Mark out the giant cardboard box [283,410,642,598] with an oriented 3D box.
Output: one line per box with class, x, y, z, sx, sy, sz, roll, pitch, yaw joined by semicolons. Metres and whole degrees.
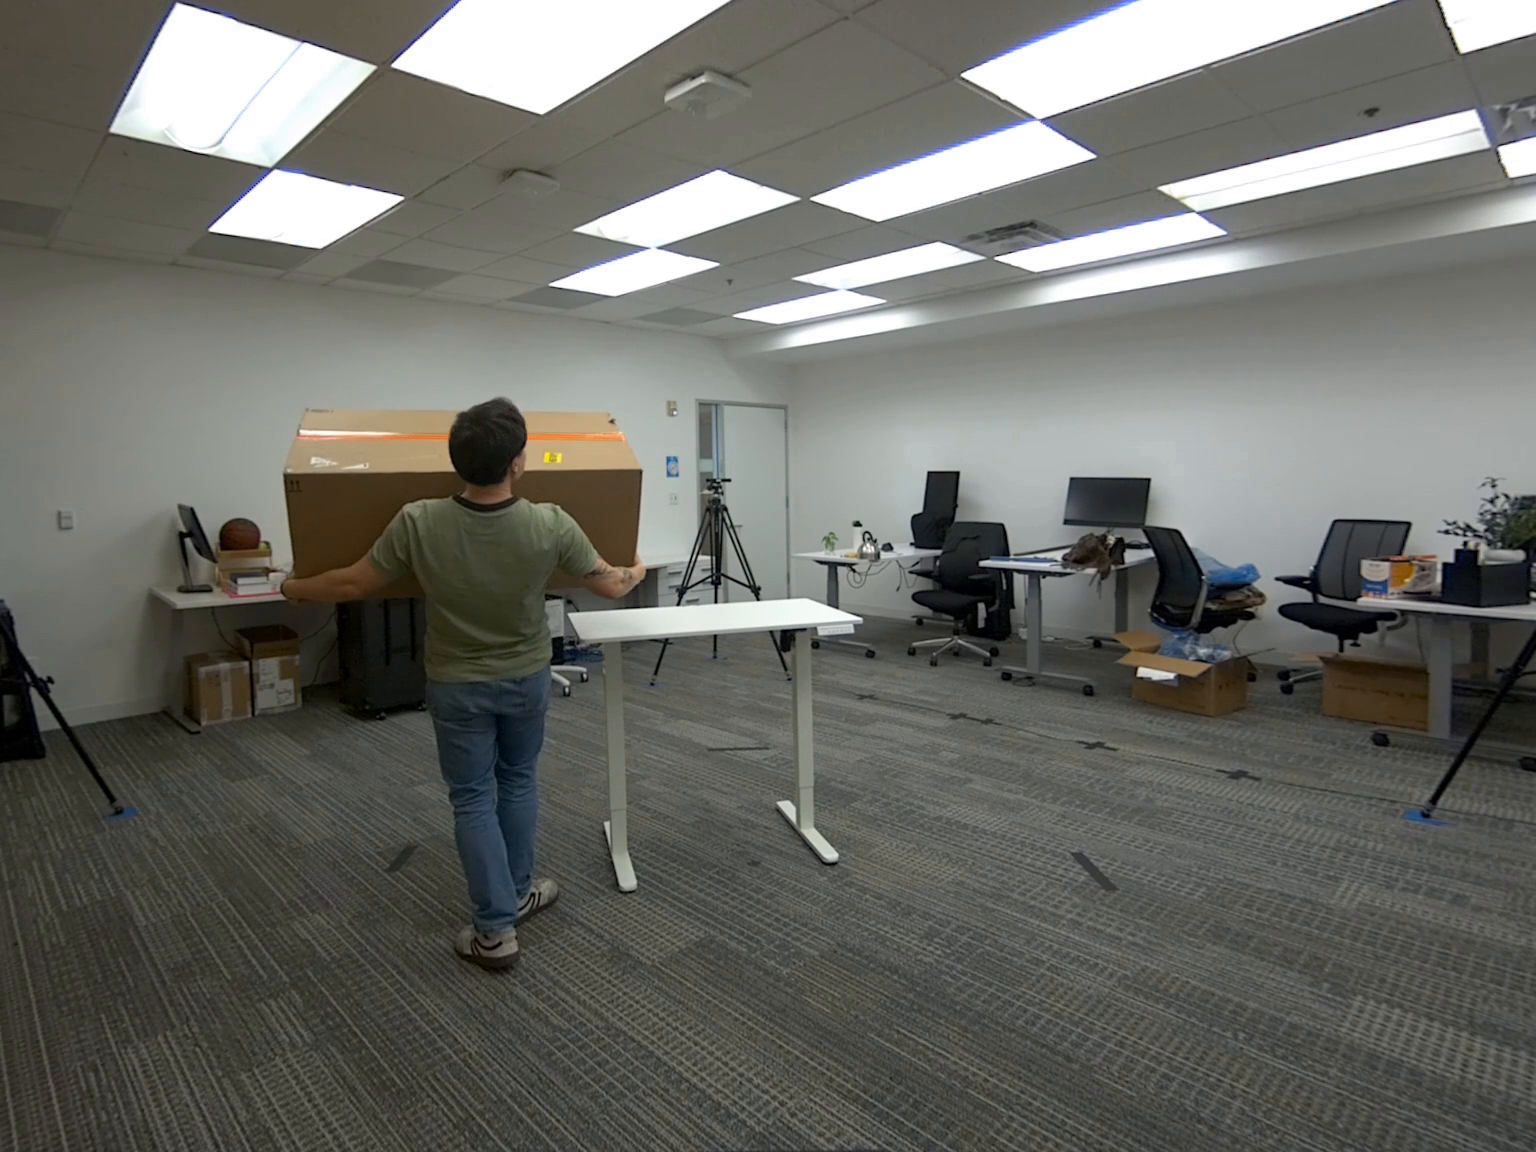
giant cardboard box;-0.986;-0.260;2.849;1.009;0.418;0.598;-4;29;-19
